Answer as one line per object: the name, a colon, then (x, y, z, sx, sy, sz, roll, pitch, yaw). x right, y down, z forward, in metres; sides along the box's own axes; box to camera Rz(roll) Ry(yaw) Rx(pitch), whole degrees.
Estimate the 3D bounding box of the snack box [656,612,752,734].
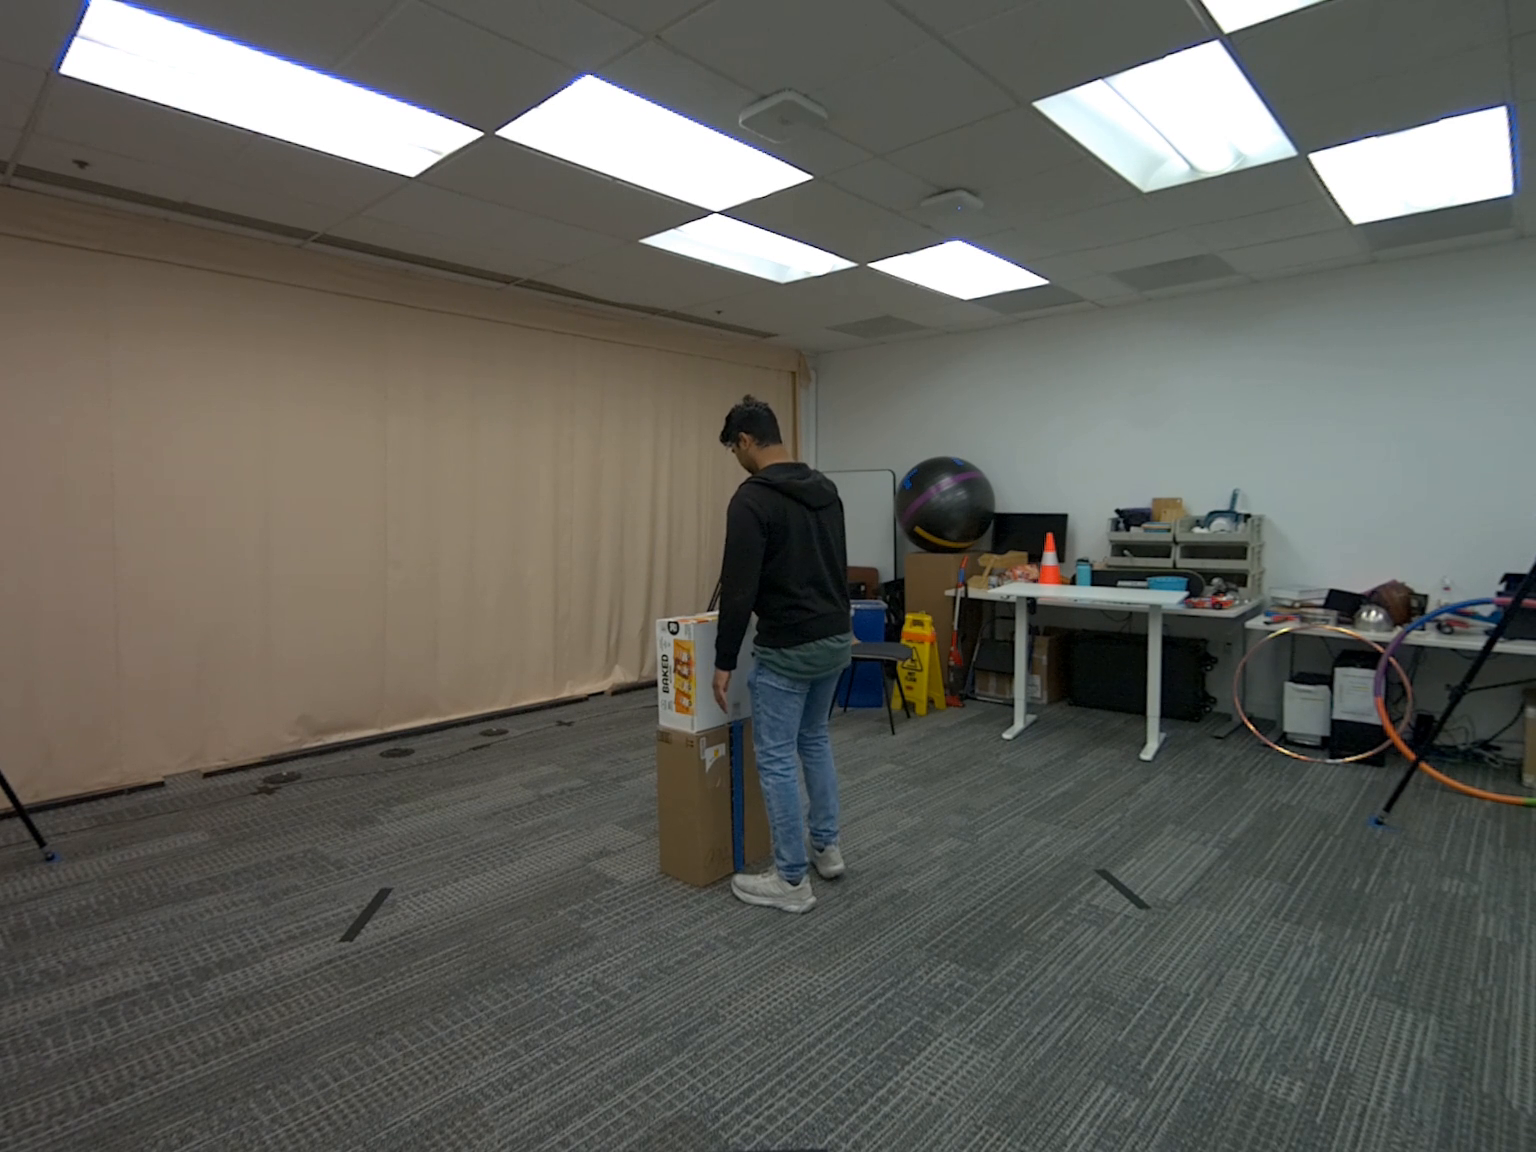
snack box: (-0.226, 0.357, 3.247, 0.212, 0.405, 0.330, 0, 3, 44)
